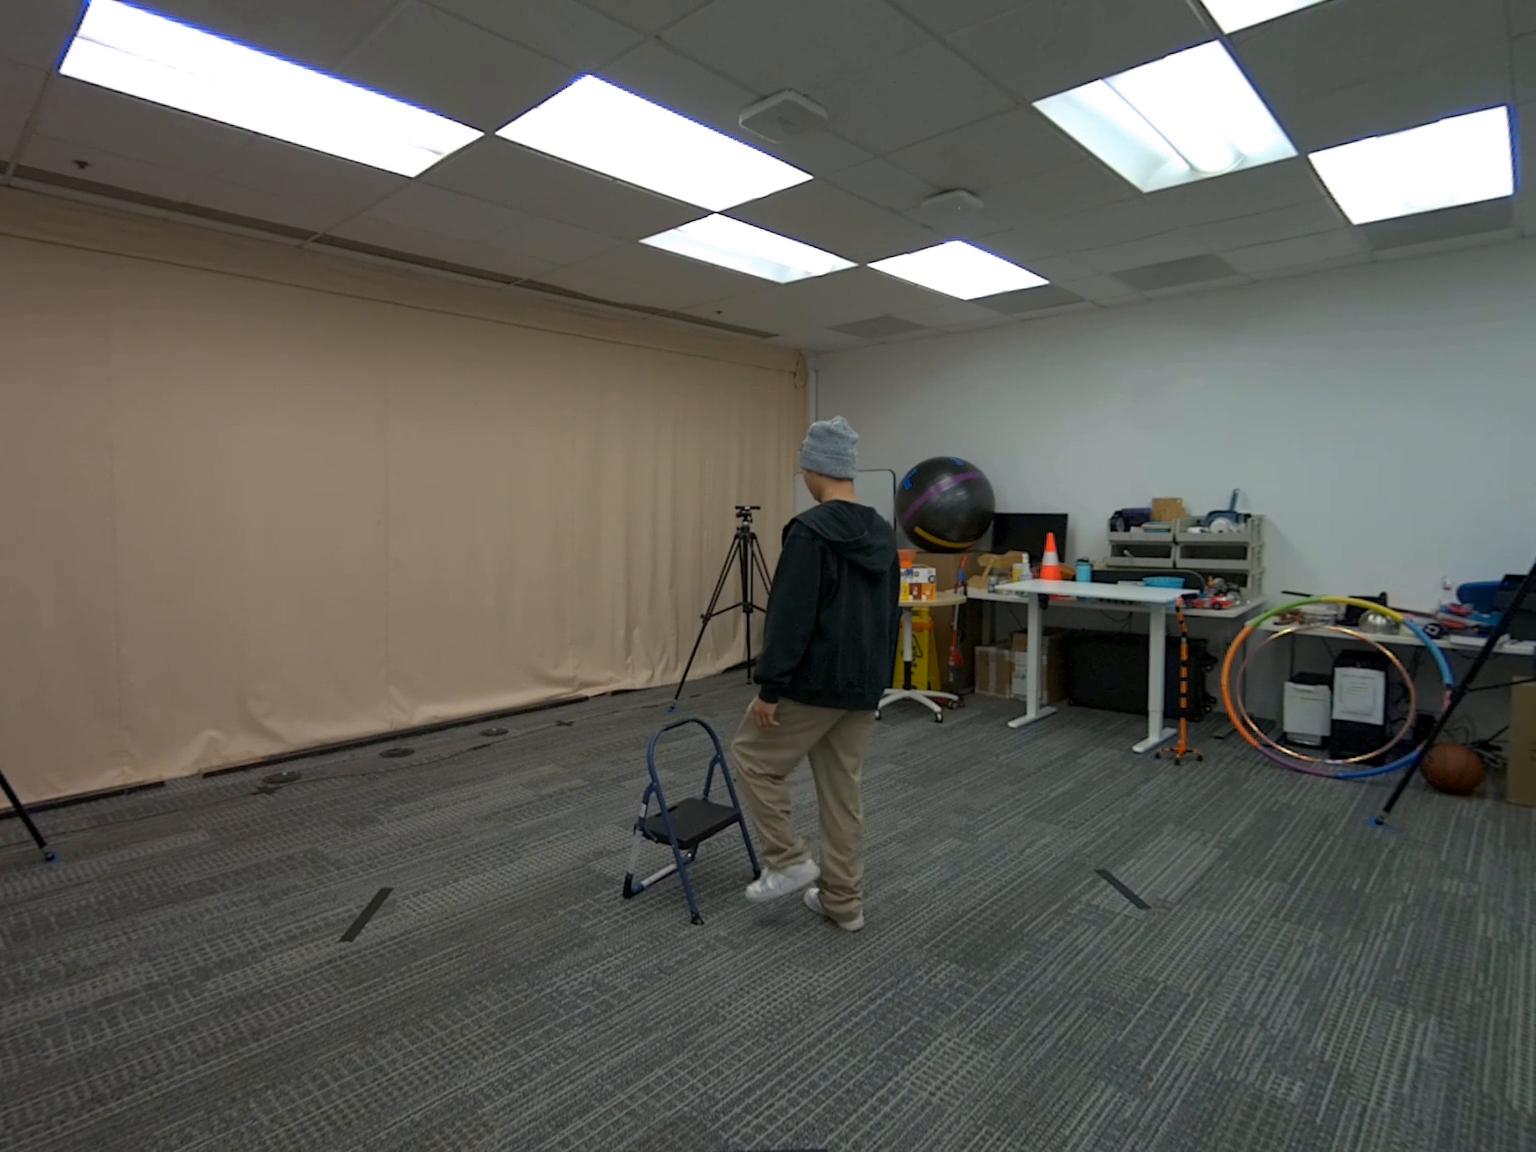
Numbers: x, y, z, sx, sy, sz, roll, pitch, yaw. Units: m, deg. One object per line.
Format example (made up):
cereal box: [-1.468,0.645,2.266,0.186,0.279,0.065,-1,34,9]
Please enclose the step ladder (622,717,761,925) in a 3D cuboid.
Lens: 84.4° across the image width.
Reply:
step ladder: [-0.267,0.837,3.054,0.360,0.605,0.418,2,4,33]
